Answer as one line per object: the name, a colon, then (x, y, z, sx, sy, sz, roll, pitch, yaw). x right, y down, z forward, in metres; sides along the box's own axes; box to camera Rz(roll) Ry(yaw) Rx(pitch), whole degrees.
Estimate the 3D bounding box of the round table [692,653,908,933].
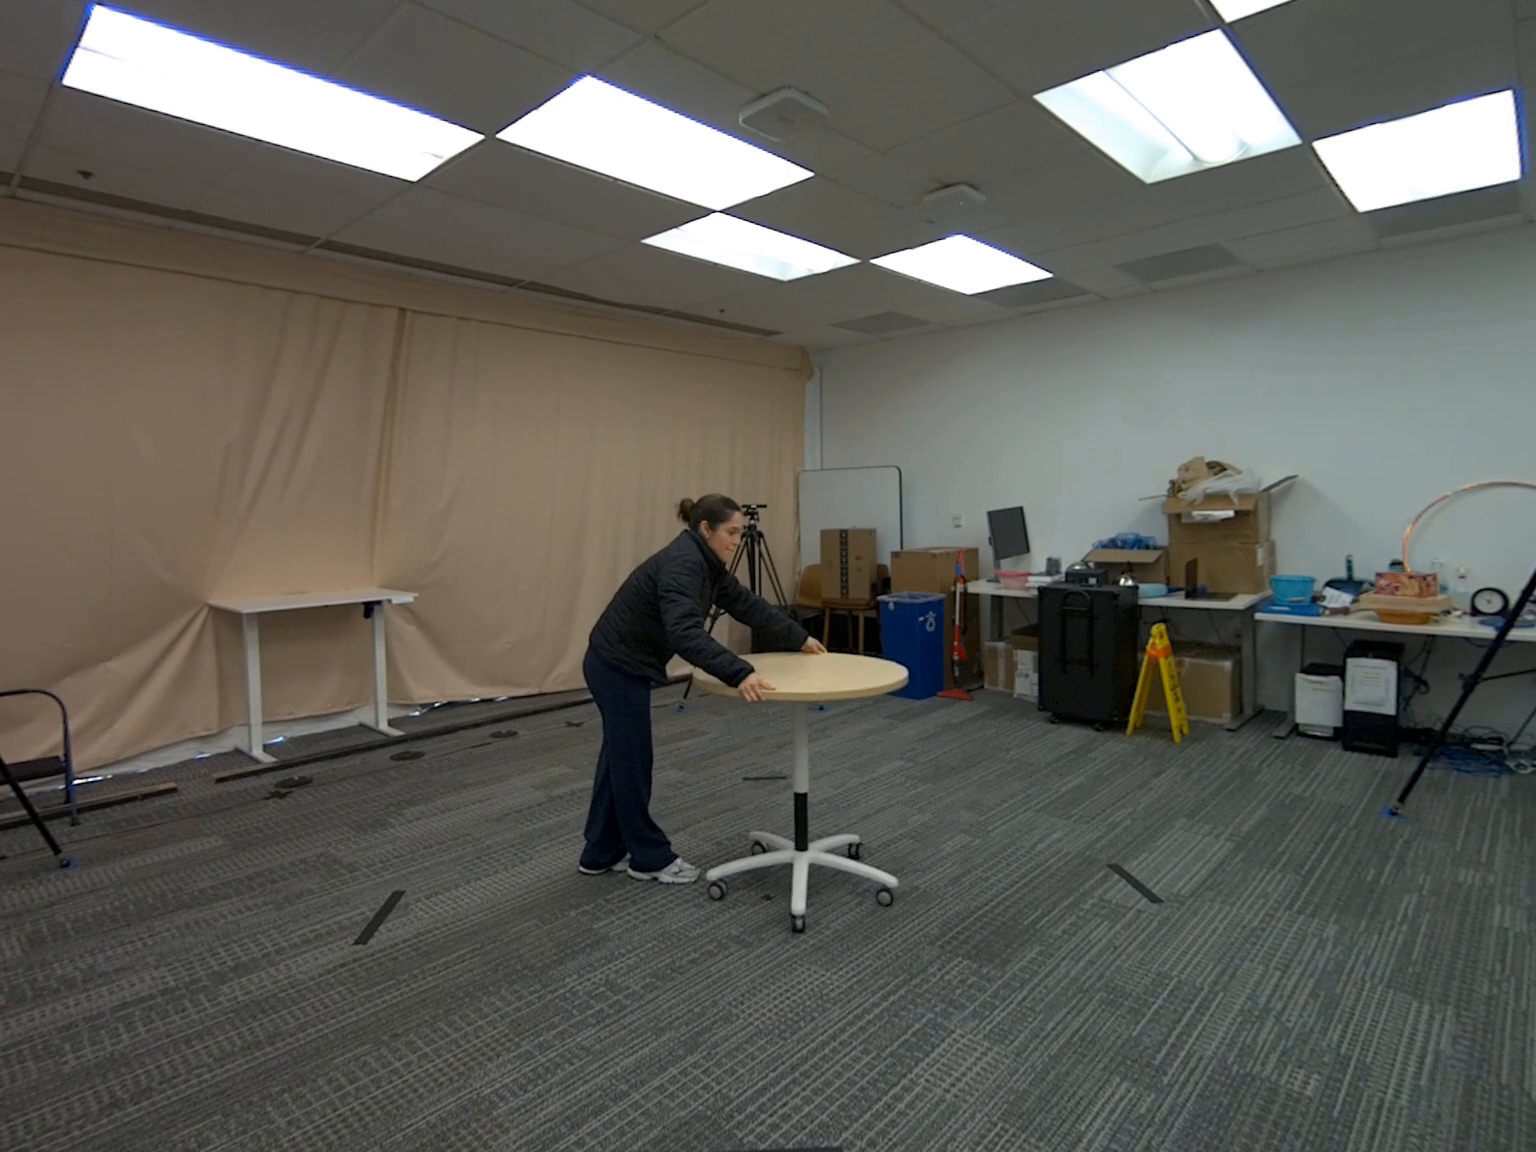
round table: (0.123, 0.725, 3.042, 0.784, 0.785, 0.787, -2, 3, -2)
